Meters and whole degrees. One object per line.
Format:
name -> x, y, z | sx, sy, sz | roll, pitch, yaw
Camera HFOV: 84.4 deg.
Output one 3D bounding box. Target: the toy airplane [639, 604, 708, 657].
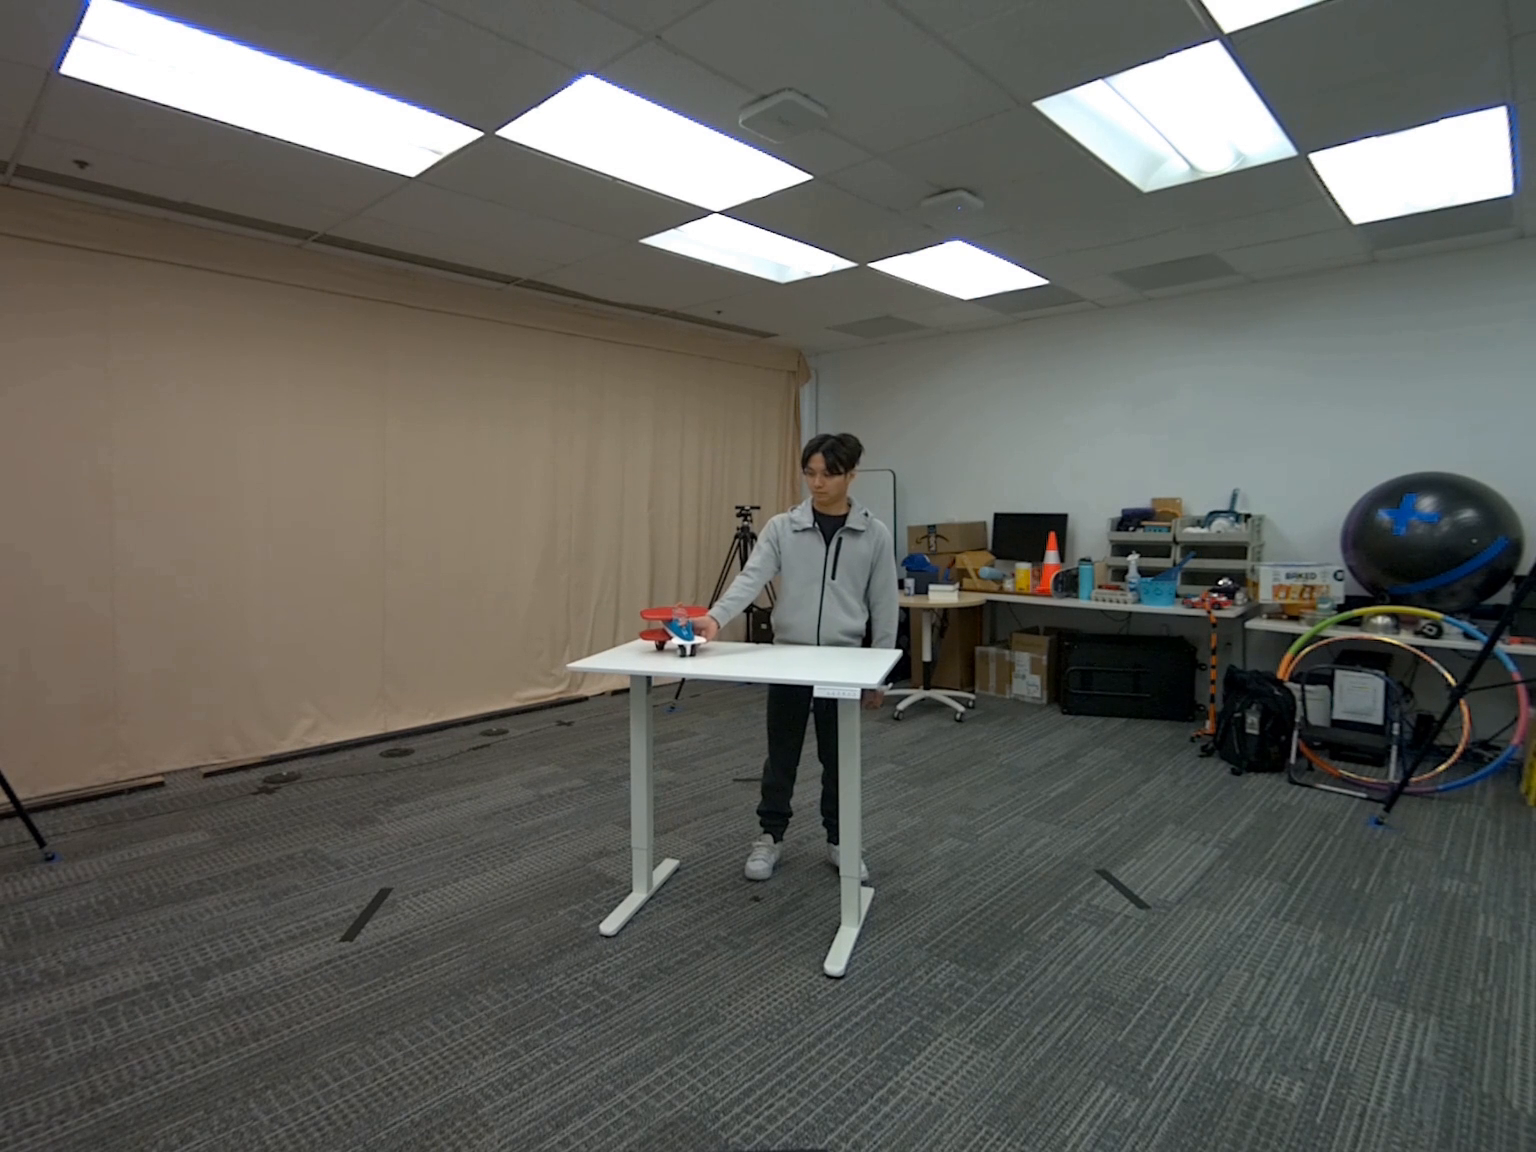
toy airplane -> -0.299, 0.192, 2.953 | 0.267, 0.156, 0.243 | 1, 4, 40
